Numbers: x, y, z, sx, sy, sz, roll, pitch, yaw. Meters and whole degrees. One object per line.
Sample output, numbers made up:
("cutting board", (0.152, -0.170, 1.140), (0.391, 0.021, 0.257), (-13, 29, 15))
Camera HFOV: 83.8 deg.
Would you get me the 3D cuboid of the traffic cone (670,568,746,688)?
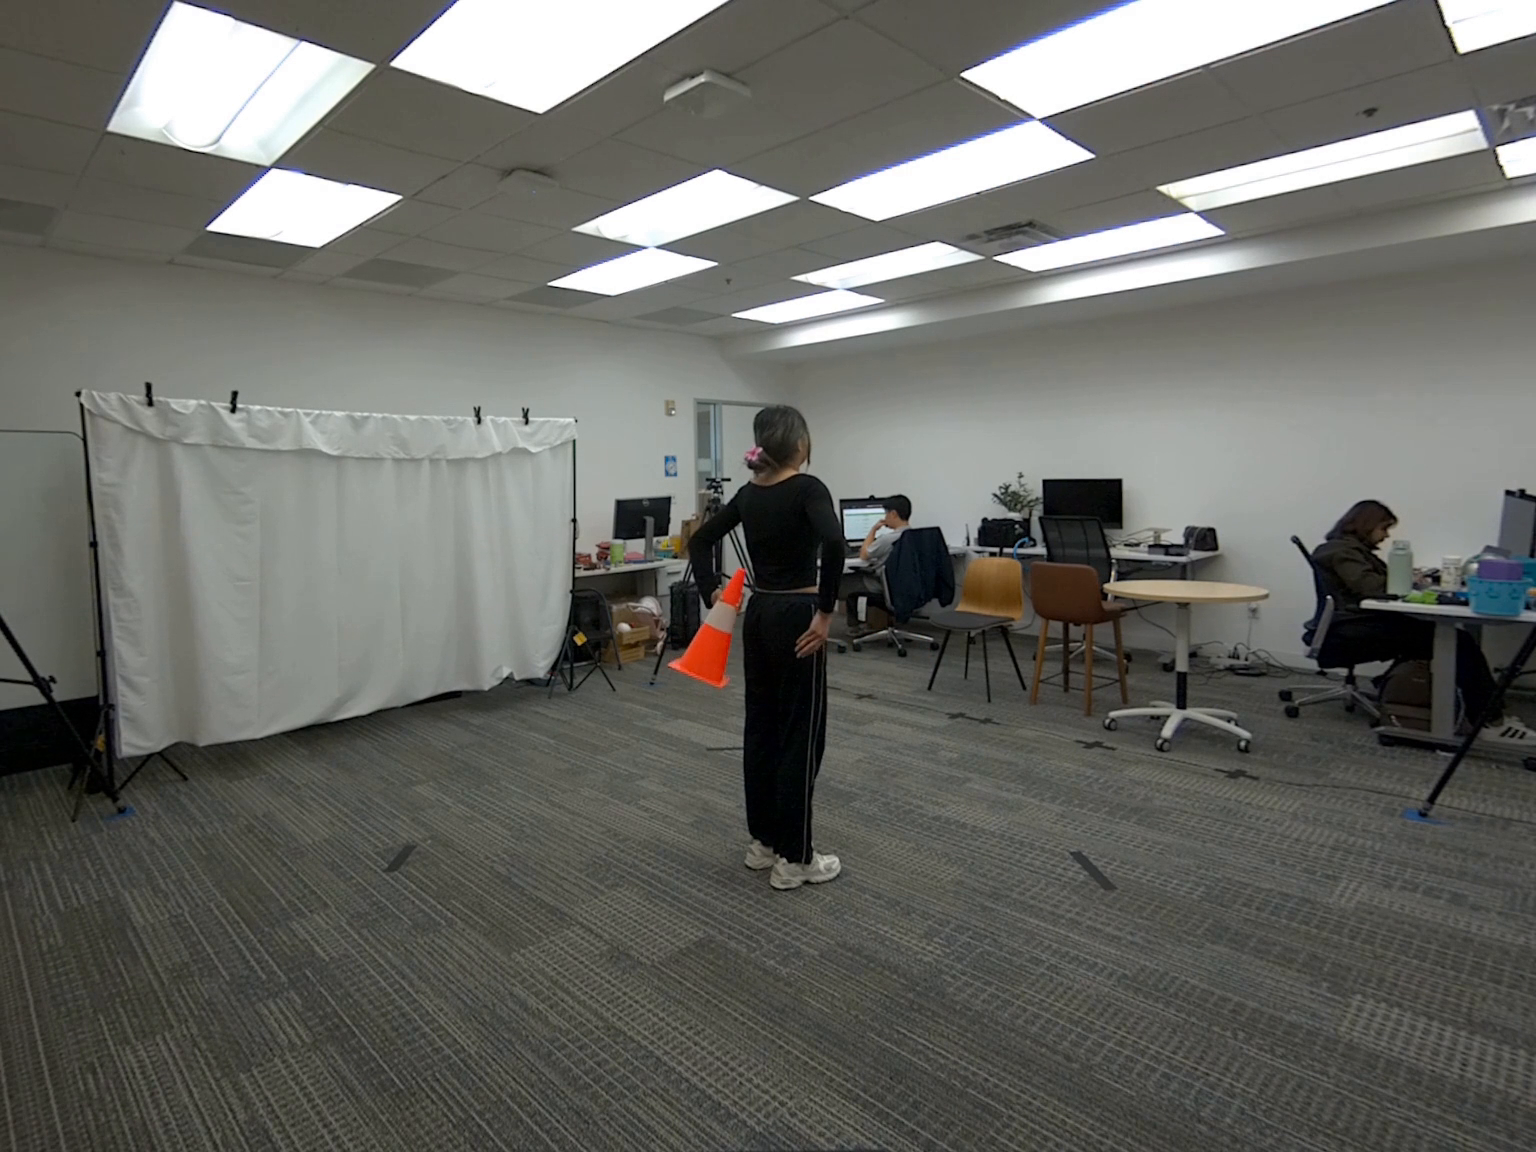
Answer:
("traffic cone", (-0.151, 0.155, 2.882), (0.206, 0.382, 0.203), (20, 6, 10))
